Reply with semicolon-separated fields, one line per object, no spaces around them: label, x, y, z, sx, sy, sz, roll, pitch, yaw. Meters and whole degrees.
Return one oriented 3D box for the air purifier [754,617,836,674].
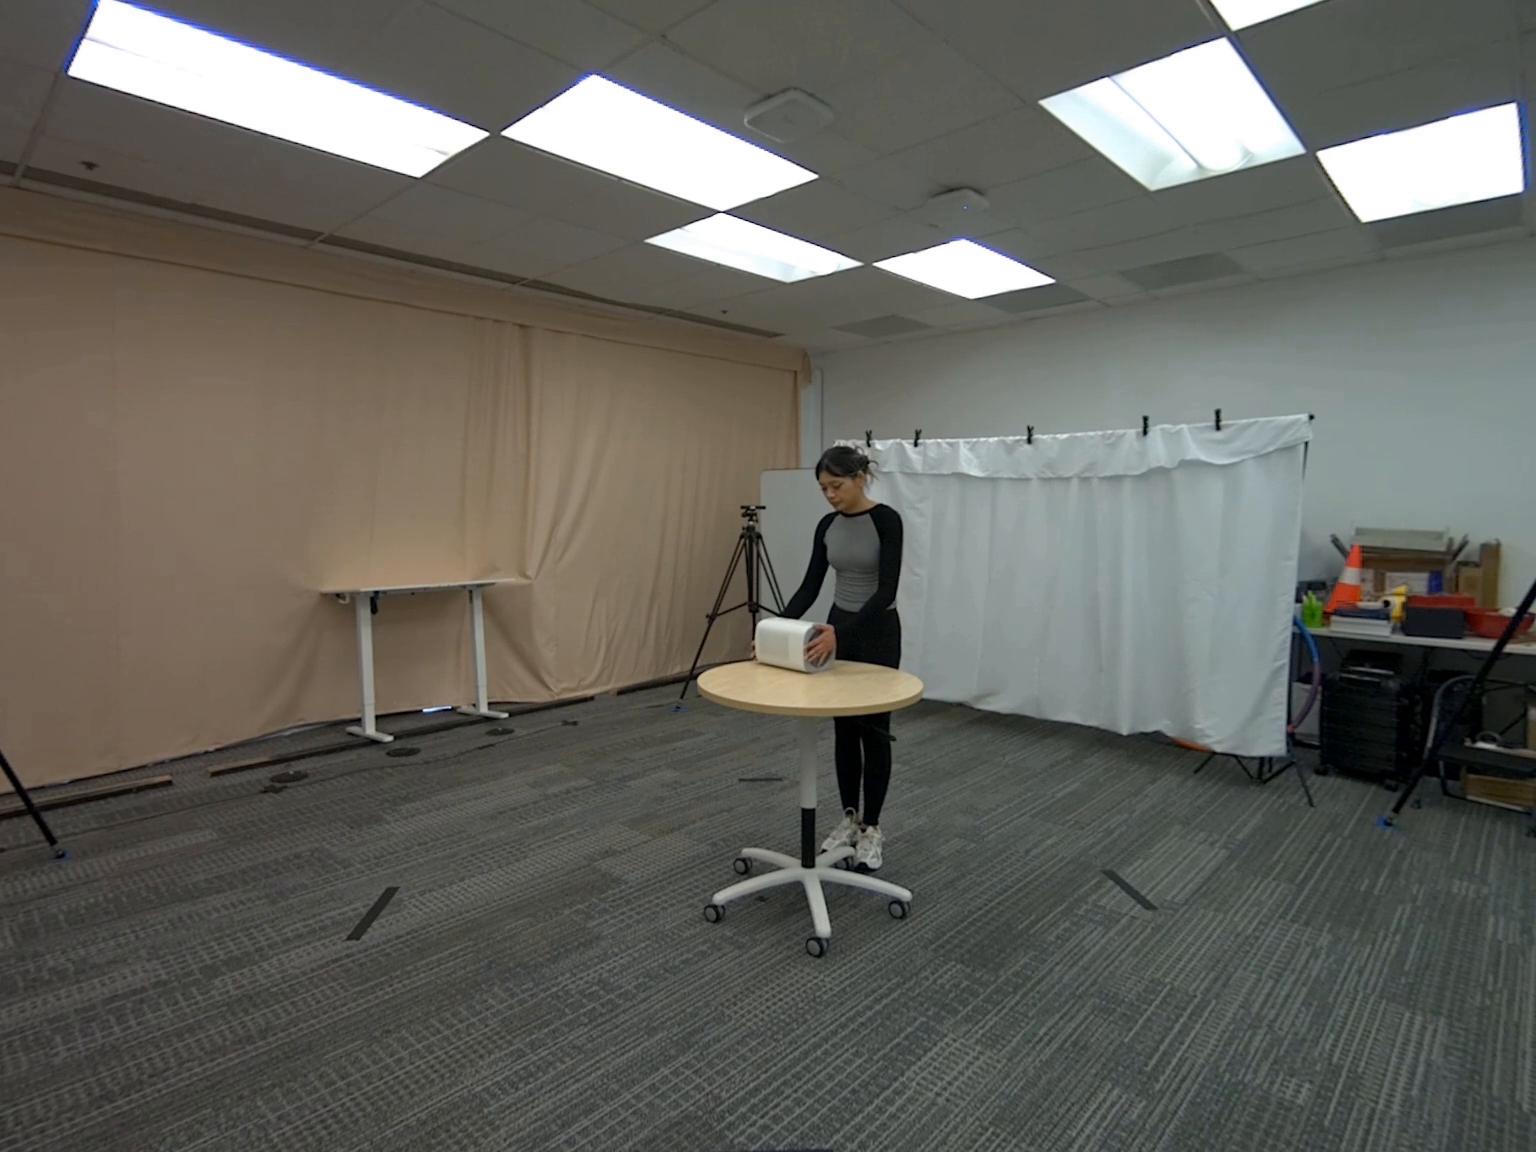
air purifier;0.098;0.250;3.112;0.166;0.171;0.274;-5;7;-43
